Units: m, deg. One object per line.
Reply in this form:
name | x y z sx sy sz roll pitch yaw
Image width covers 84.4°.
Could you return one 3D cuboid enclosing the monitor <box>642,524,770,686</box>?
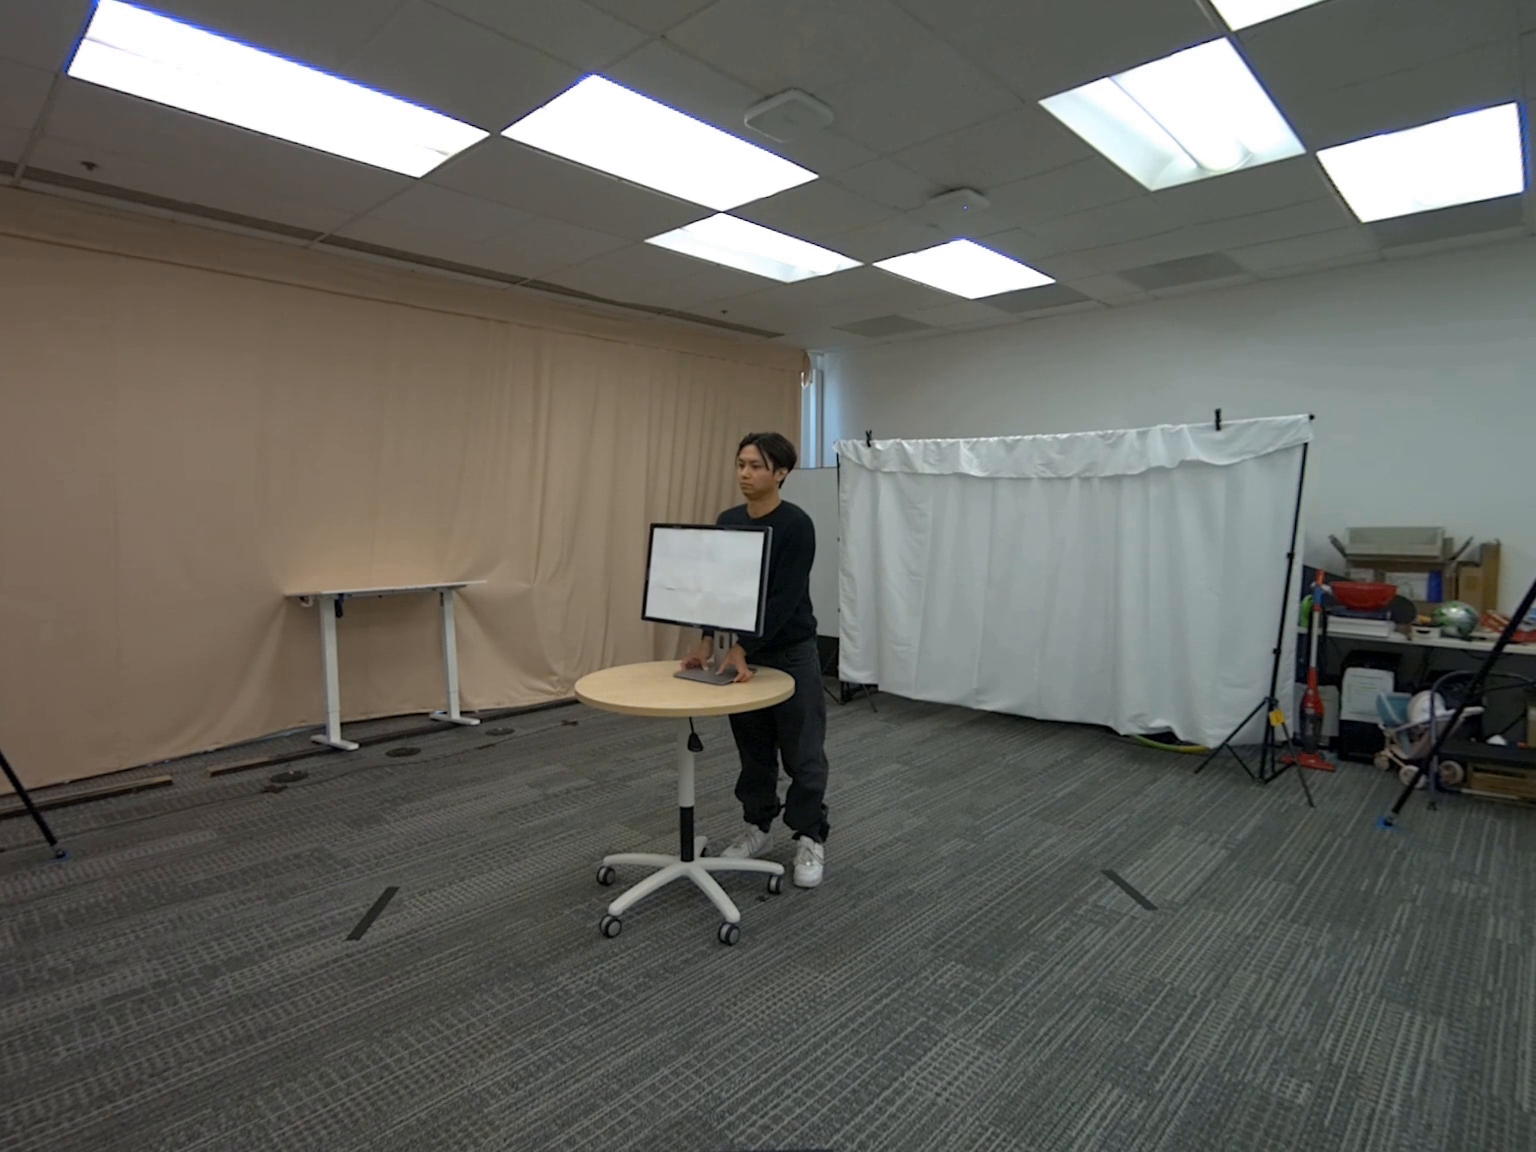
monitor | -0.197 0.090 2.990 0.557 0.520 0.182 3 9 39
